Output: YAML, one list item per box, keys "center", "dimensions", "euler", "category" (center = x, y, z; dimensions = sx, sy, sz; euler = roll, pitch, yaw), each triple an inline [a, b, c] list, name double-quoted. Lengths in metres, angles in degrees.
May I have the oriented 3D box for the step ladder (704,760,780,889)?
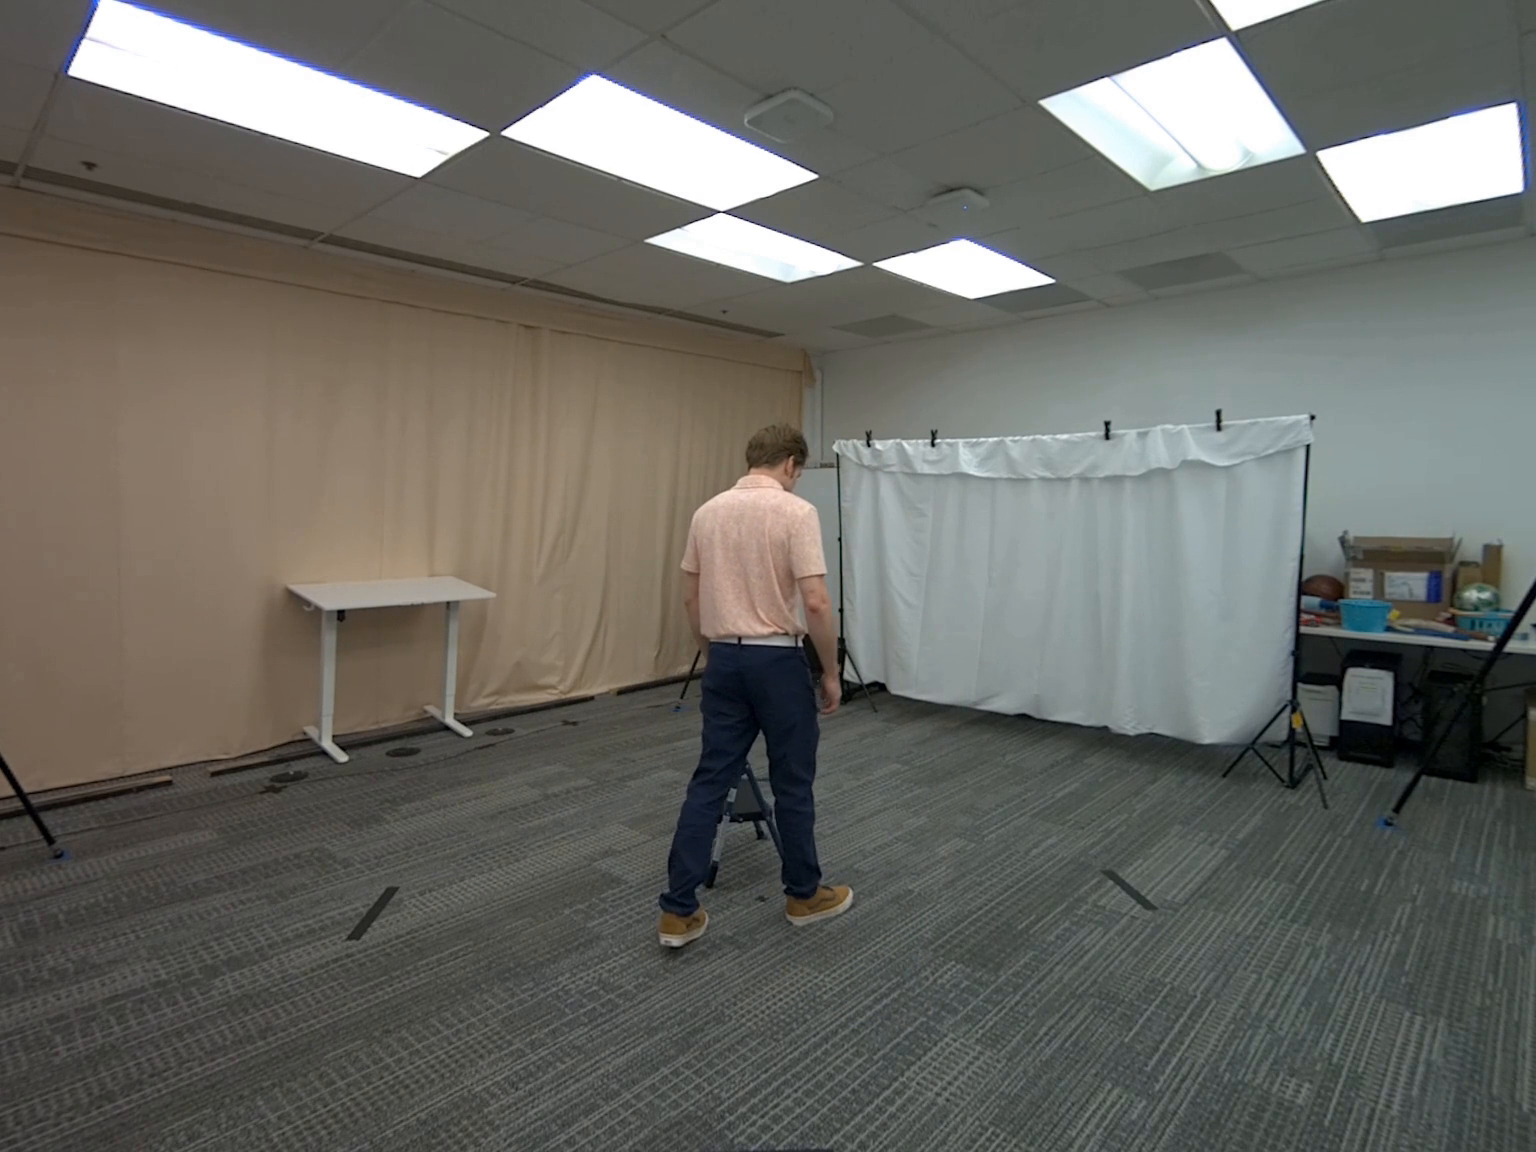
- center: [-0.117, 0.817, 3.283]
  dimensions: [0.344, 0.605, 0.438]
  euler: [-1, 3, -16]
  category: "step ladder"
